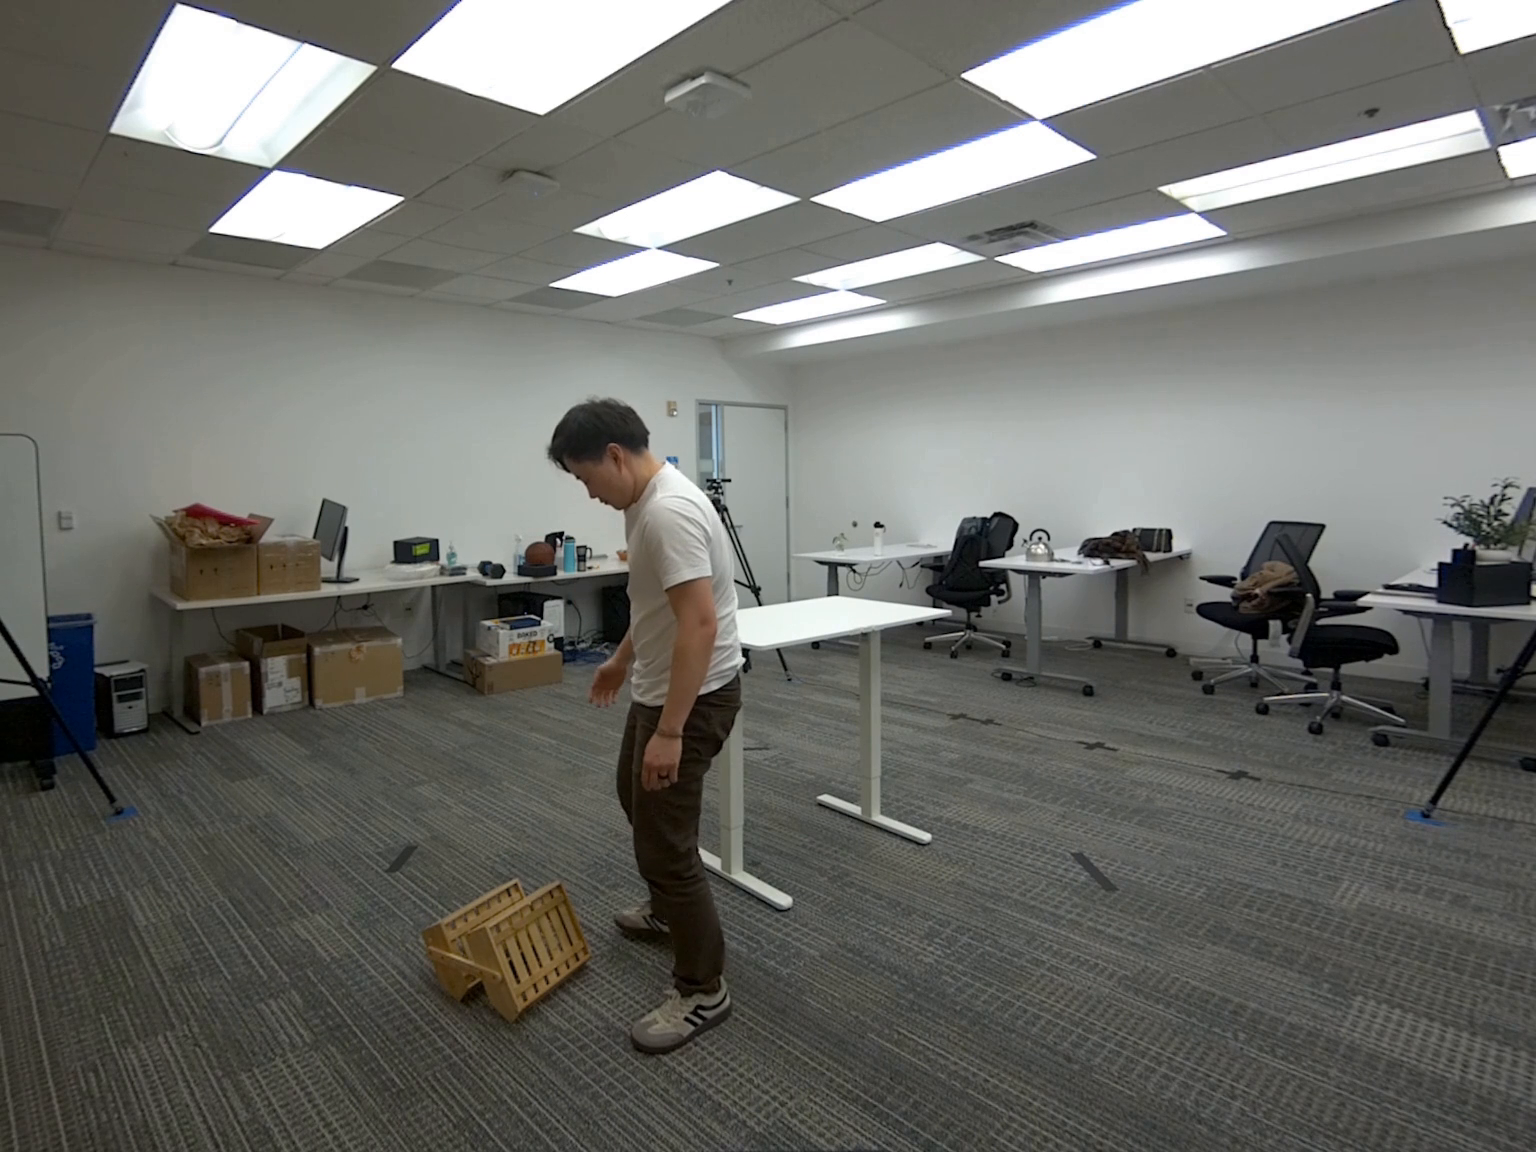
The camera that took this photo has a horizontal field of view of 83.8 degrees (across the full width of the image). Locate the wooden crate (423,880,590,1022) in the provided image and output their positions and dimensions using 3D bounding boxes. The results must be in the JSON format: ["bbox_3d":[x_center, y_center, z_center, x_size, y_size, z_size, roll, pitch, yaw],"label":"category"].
[{"bbox_3d":[-0.725,1.048,2.419,0.276,0.305,0.318,-30,-9,27],"label":"wooden crate"}]
